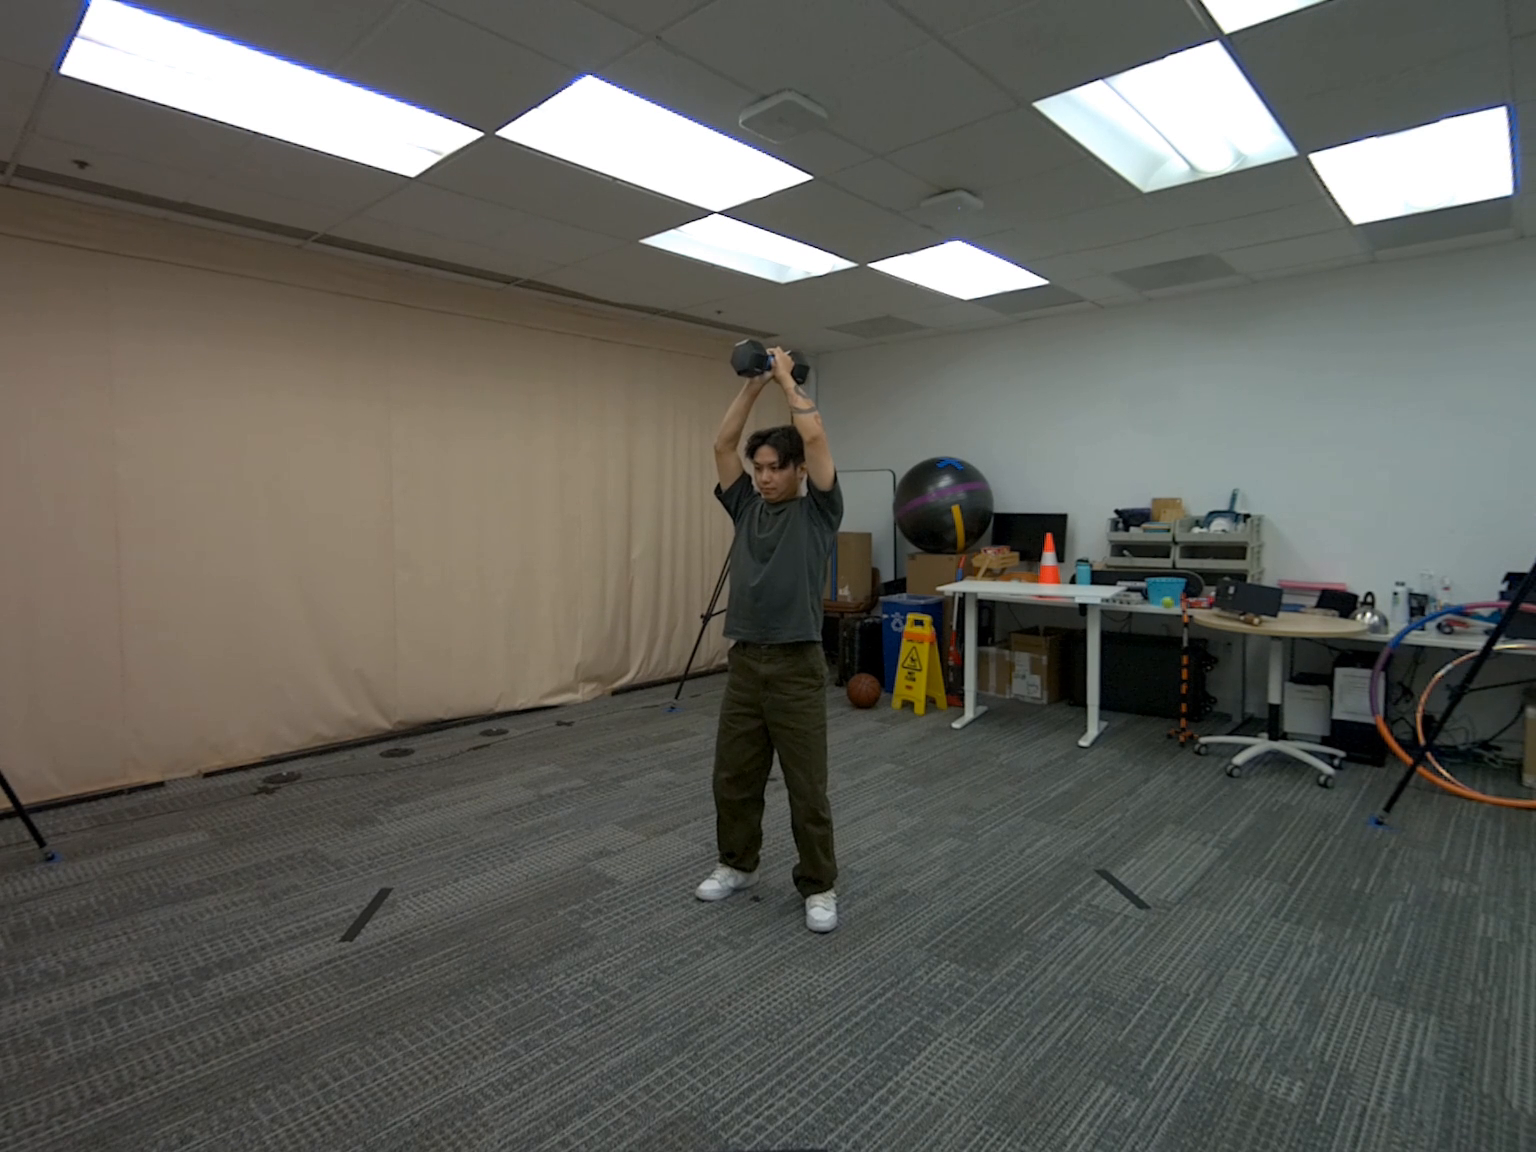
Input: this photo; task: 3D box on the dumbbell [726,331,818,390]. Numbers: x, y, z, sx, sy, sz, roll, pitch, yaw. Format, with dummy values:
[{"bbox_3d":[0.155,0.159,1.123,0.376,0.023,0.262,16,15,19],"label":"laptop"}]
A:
[{"bbox_3d":[0.014,-0.721,2.842,0.284,0.122,0.113,-2,26,-46],"label":"dumbbell"}]
